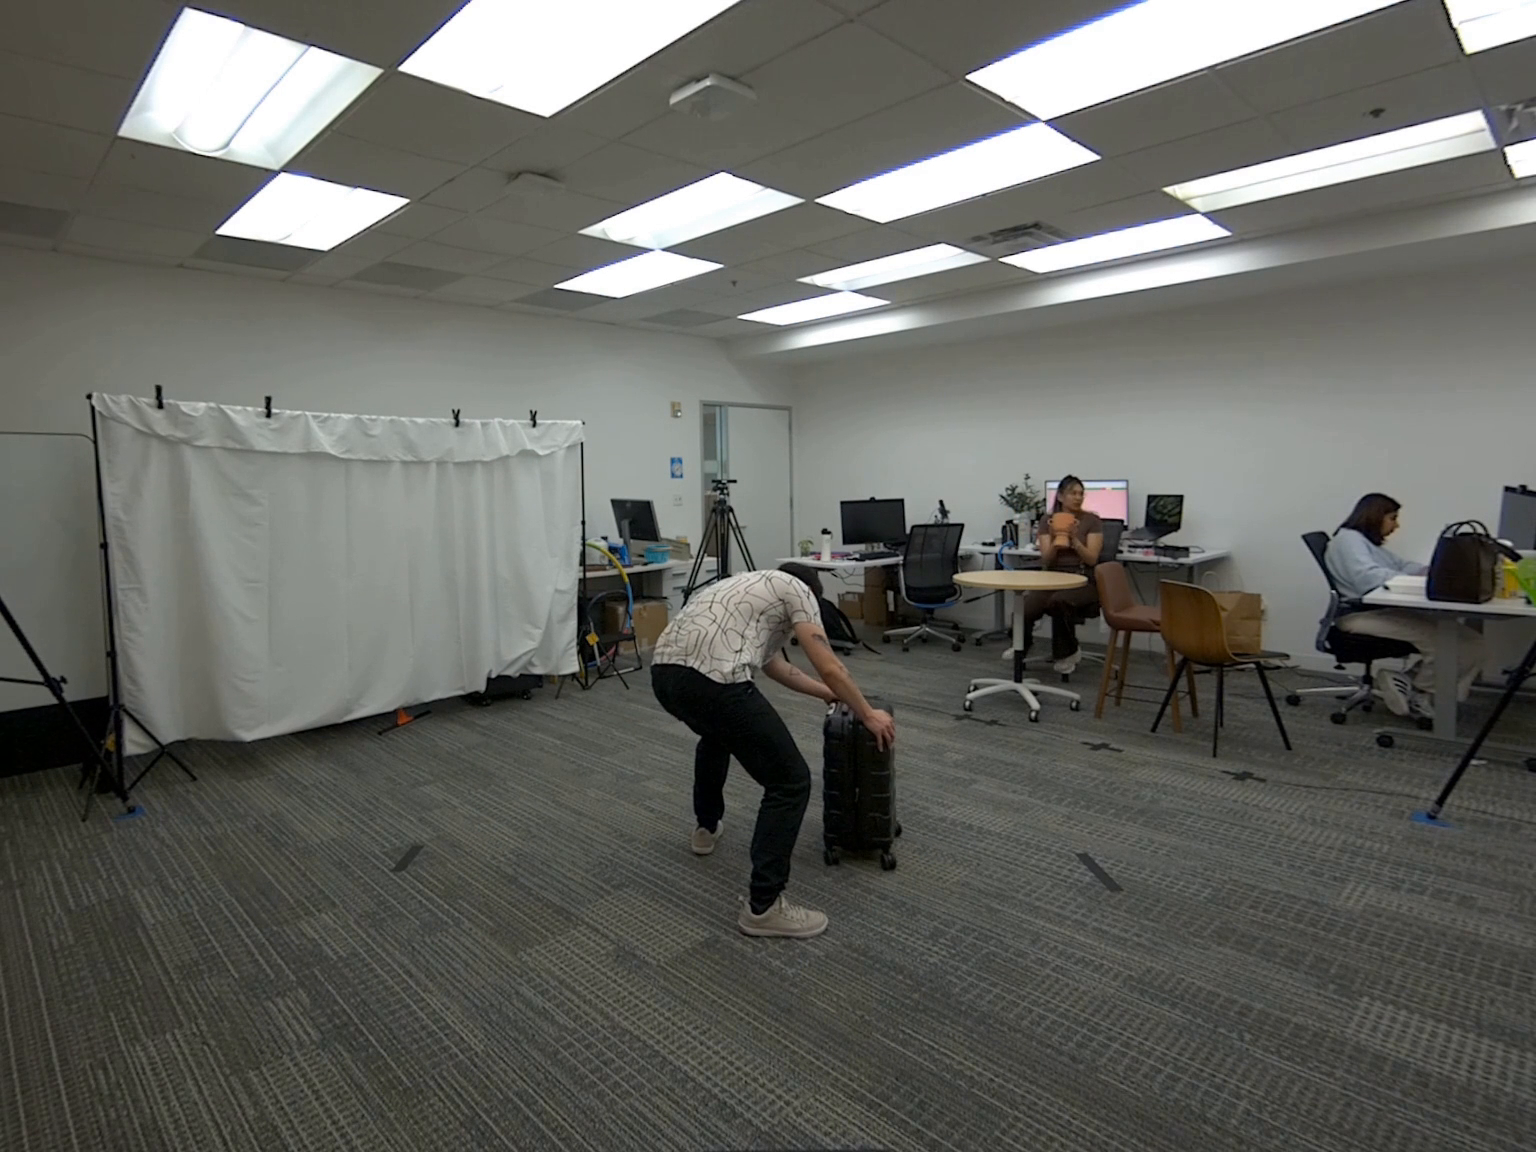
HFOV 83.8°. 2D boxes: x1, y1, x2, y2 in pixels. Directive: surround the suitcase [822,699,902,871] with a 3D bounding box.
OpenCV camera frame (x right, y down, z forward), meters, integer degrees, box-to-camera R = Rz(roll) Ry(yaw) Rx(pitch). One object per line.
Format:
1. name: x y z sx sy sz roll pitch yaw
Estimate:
1. suitcase: 0.354 0.757 3.221 0.251 0.548 0.371 1 3 12
